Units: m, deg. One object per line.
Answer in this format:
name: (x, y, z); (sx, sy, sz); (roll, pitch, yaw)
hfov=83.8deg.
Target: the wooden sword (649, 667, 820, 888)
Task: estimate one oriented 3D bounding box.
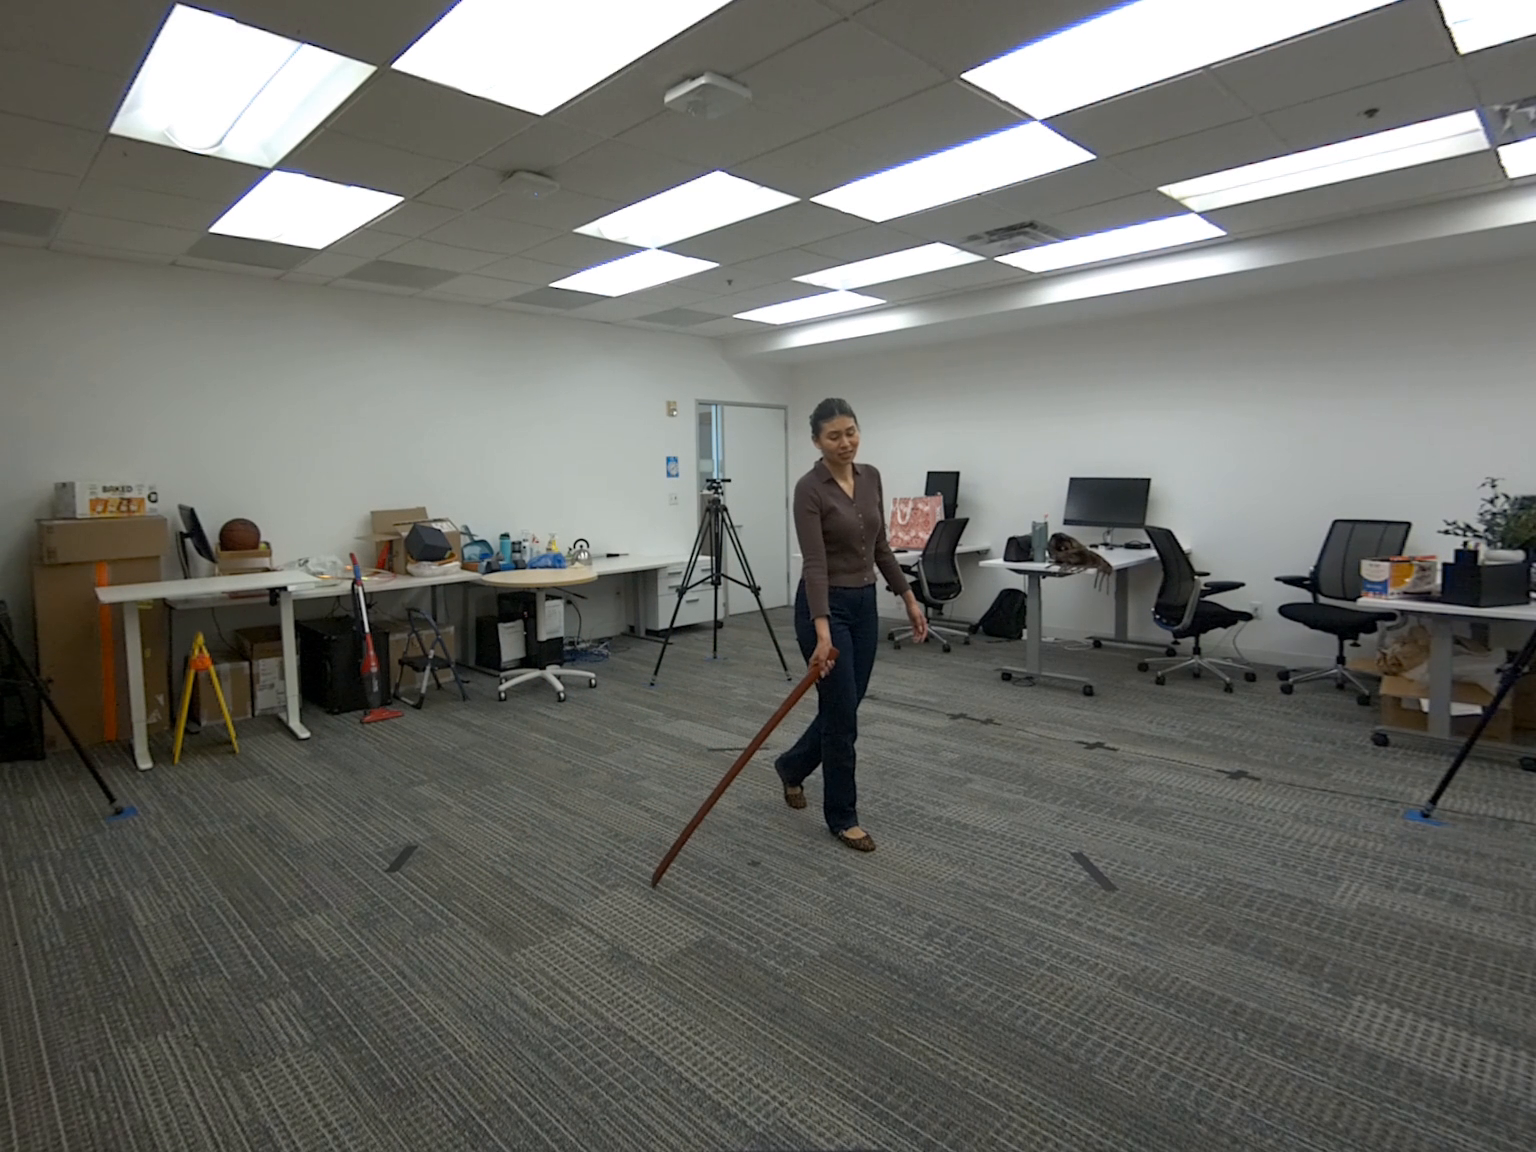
wooden sword: (-0.102, 0.662, 2.934); (0.051, 1.025, 0.024); (37, -1, -2)
